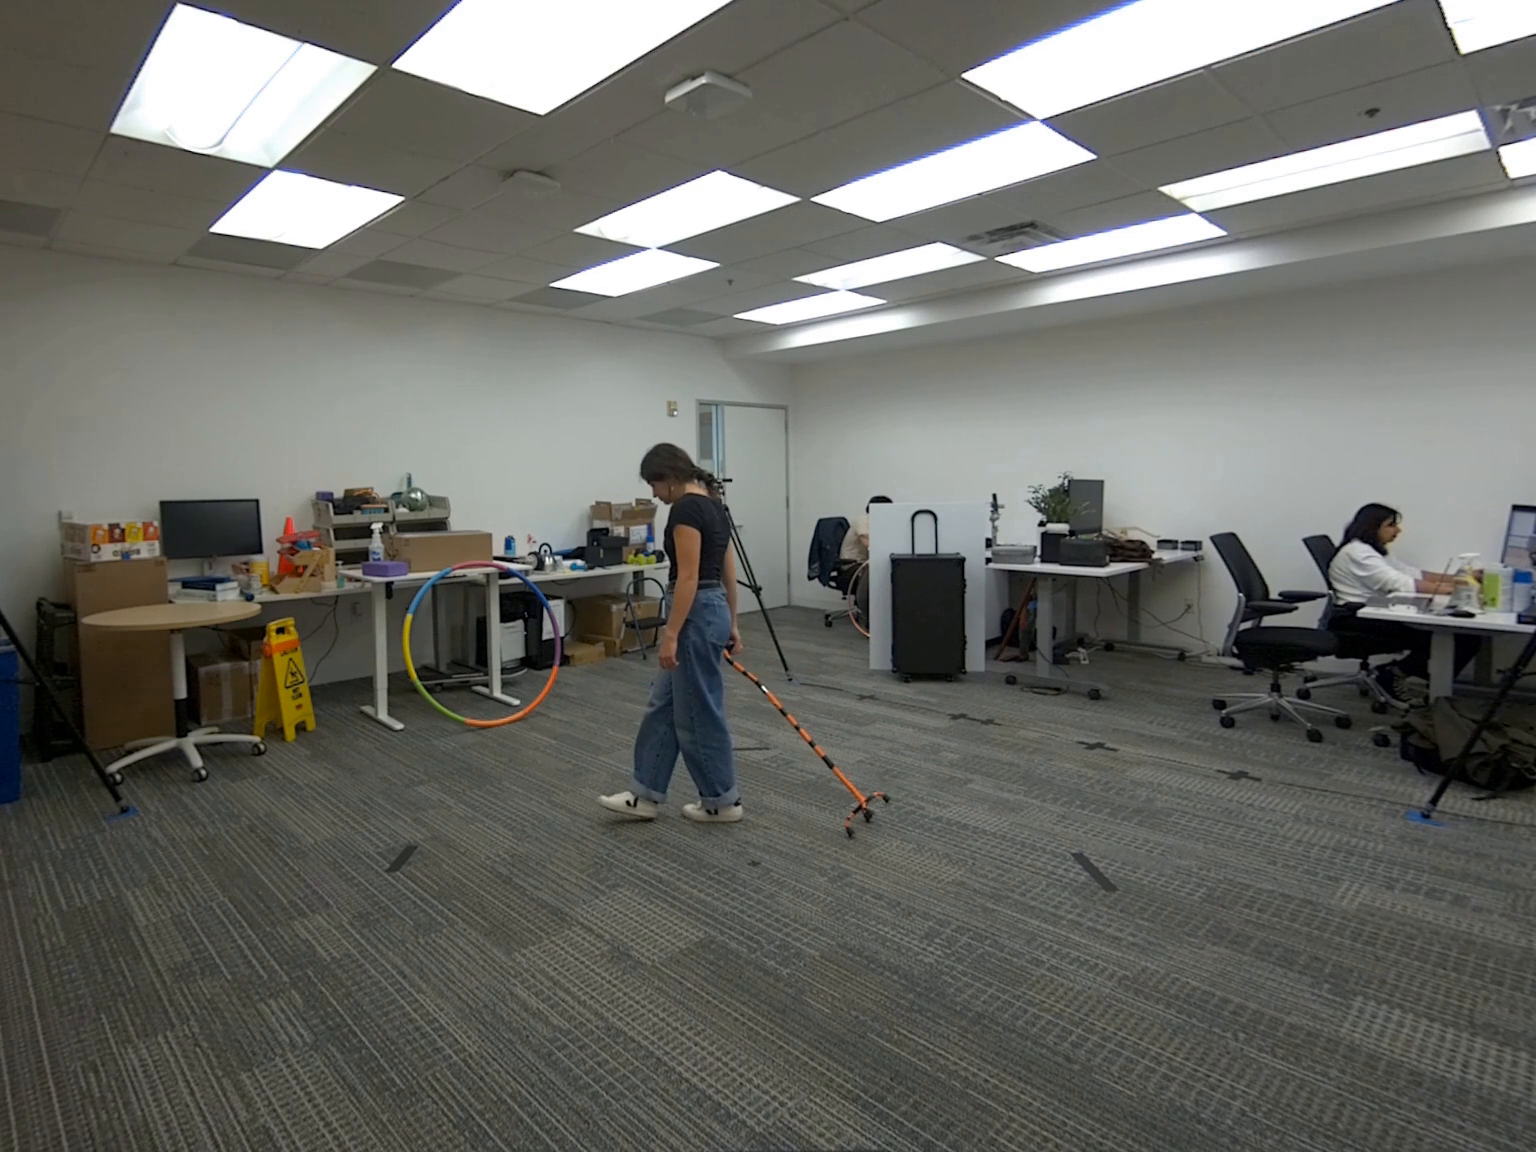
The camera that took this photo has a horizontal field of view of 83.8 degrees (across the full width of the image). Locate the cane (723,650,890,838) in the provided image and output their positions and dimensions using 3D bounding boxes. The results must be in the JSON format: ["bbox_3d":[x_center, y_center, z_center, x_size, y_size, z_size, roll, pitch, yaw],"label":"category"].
[{"bbox_3d":[0.112,0.632,3.537,0.932,0.151,0.201,47,23,20],"label":"cane"}]
